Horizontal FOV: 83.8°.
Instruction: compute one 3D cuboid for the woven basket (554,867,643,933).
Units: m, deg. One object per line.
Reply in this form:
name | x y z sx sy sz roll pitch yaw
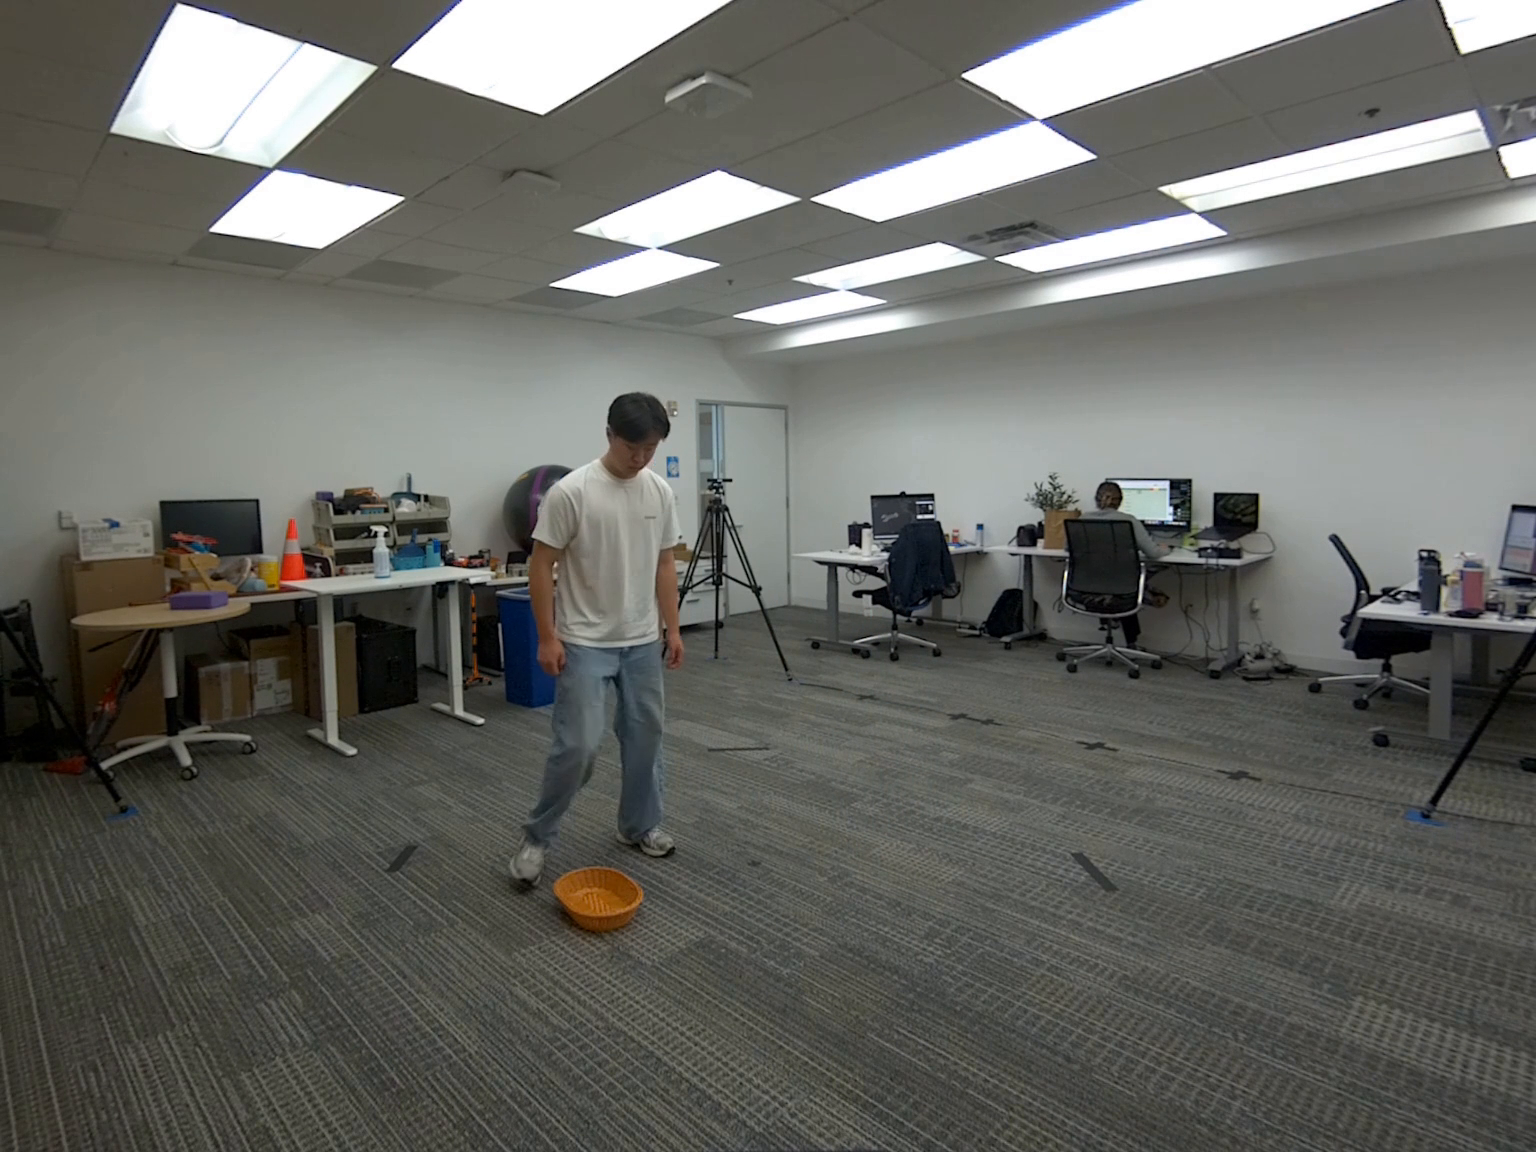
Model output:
woven basket | -0.551 1.058 2.786 0.246 0.073 0.361 -5 8 -32
